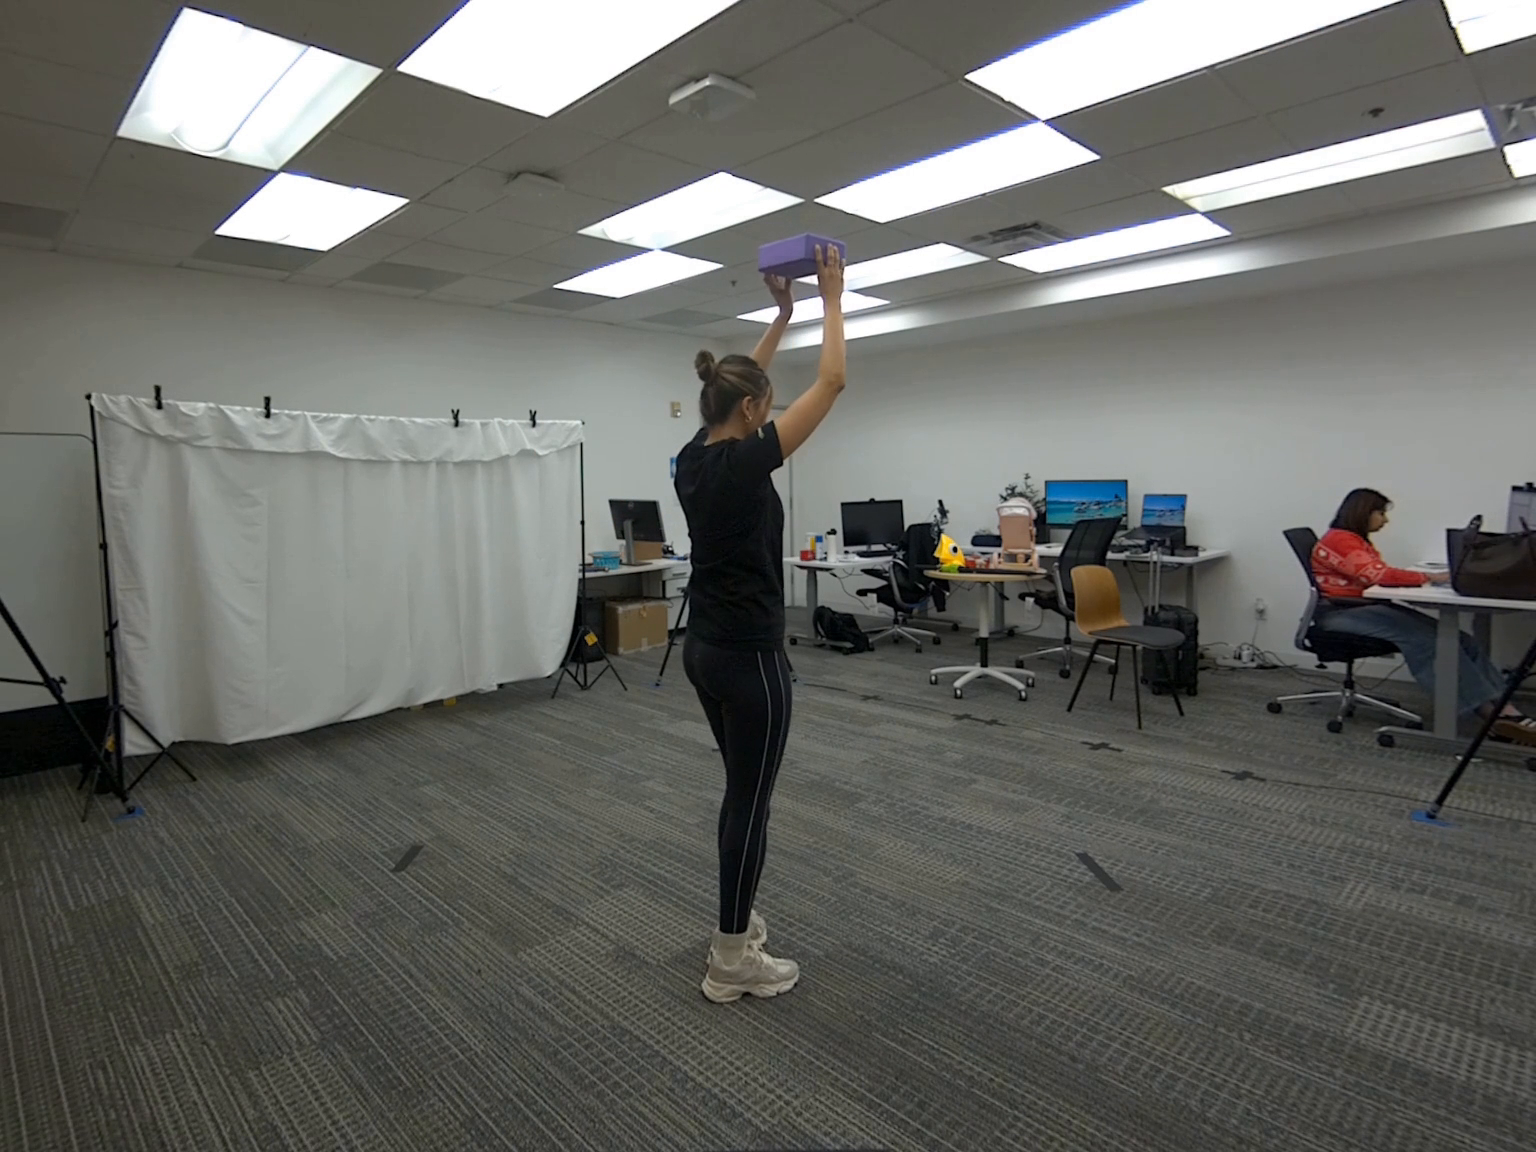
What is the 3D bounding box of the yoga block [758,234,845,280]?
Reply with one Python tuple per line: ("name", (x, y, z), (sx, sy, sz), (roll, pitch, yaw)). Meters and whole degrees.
("yoga block", (0.100, -0.919, 2.438), (0.145, 0.076, 0.237), (0, 9, -35))
